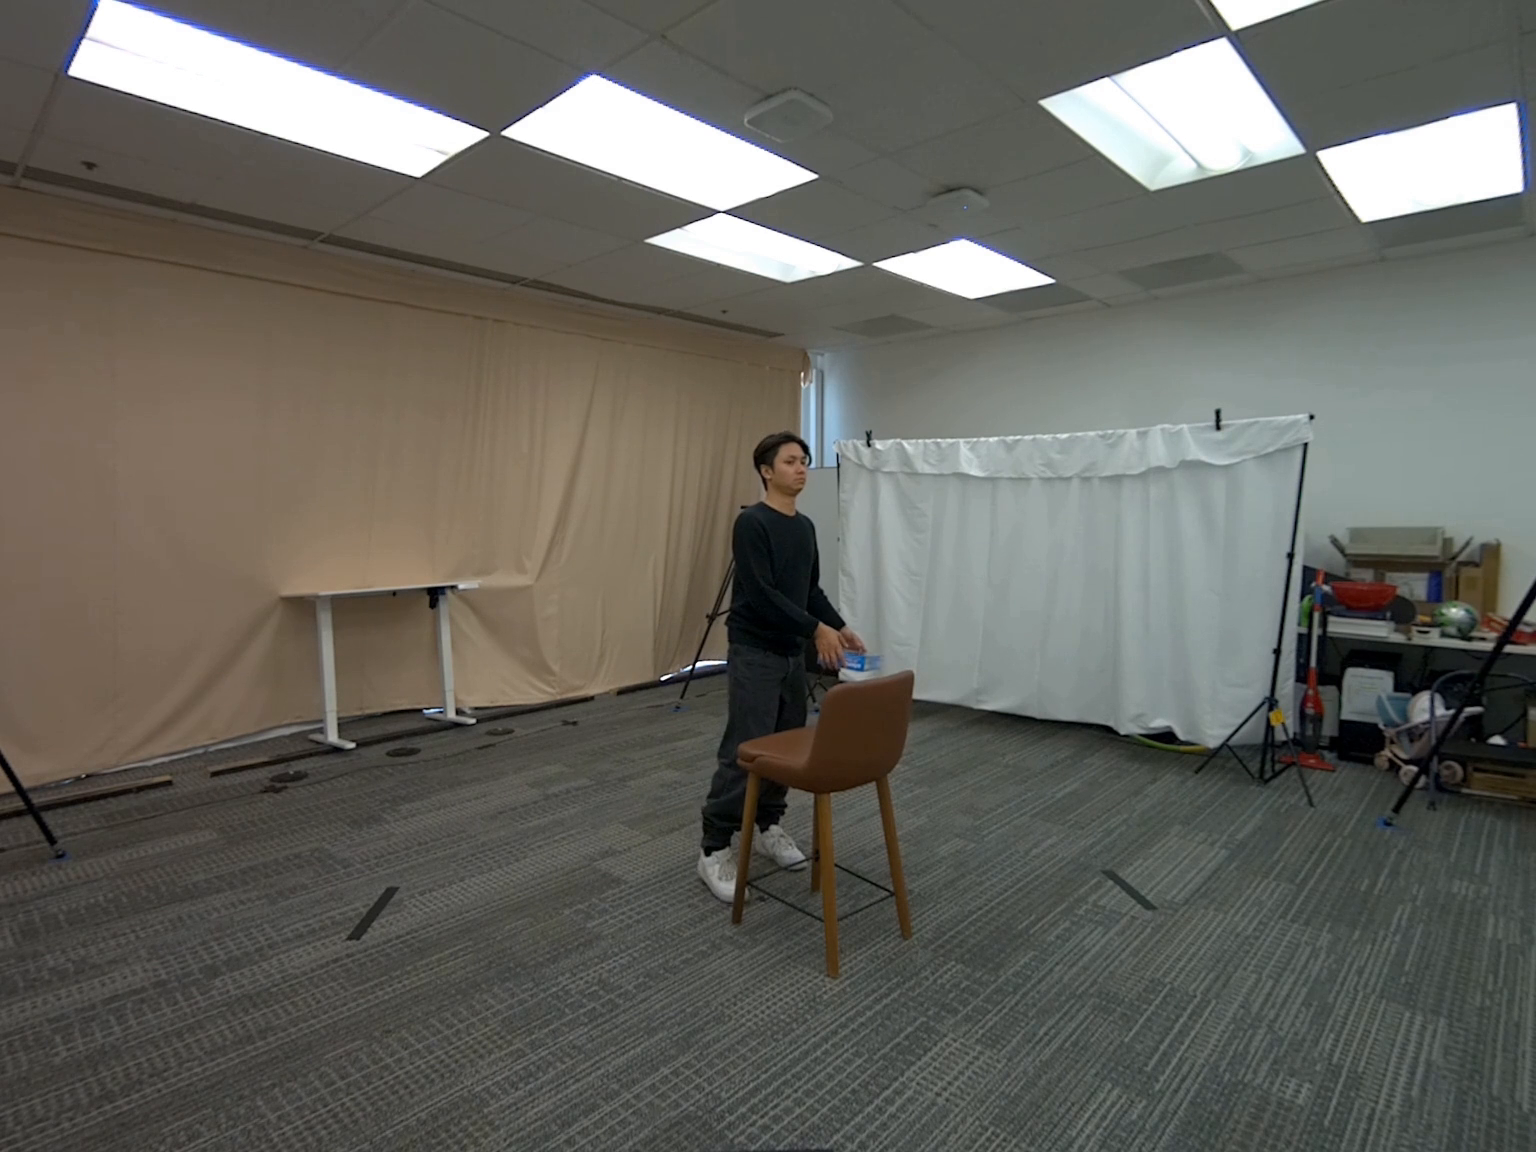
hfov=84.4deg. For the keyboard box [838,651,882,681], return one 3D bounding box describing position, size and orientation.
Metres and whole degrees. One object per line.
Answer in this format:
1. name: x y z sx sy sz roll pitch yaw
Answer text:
1. keyboard box: 0.321 0.318 3.248 0.180 0.059 0.427 8 -2 18
